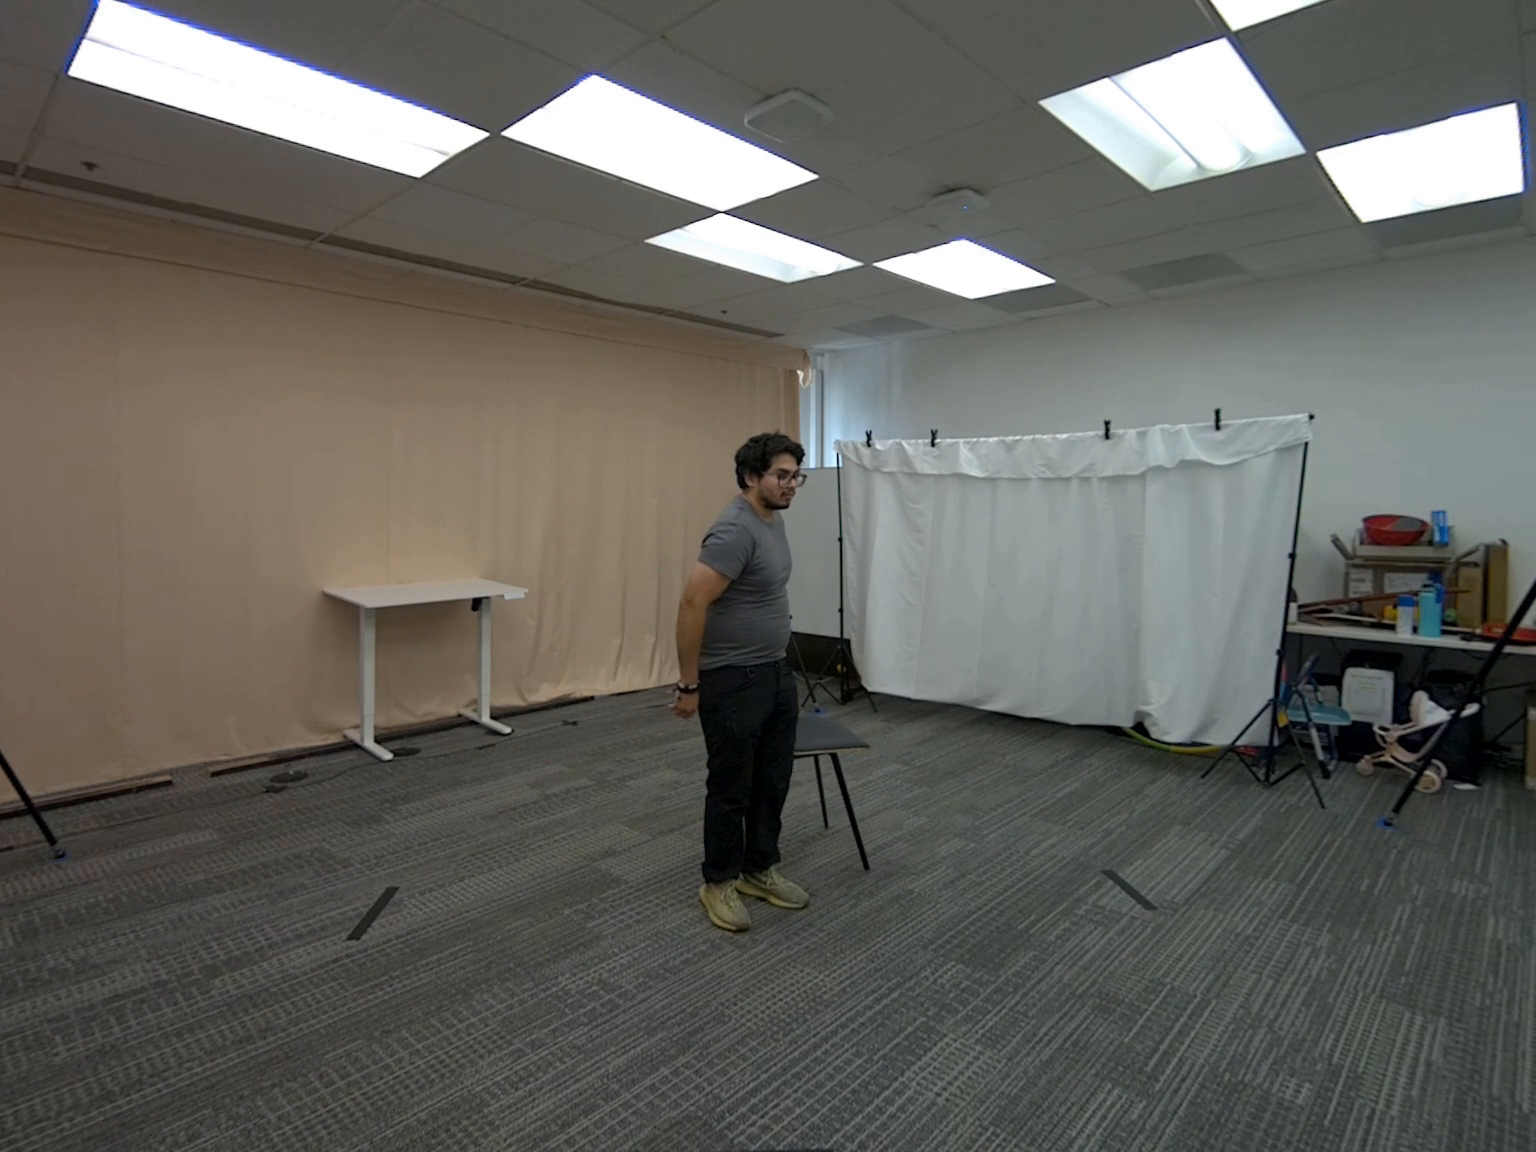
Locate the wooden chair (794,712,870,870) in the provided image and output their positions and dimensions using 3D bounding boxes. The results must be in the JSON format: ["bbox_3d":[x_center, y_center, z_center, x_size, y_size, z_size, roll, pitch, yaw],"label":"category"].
[{"bbox_3d":[0.118,0.684,3.351,0.516,0.875,0.486,-6,4,-15],"label":"wooden chair"}]
